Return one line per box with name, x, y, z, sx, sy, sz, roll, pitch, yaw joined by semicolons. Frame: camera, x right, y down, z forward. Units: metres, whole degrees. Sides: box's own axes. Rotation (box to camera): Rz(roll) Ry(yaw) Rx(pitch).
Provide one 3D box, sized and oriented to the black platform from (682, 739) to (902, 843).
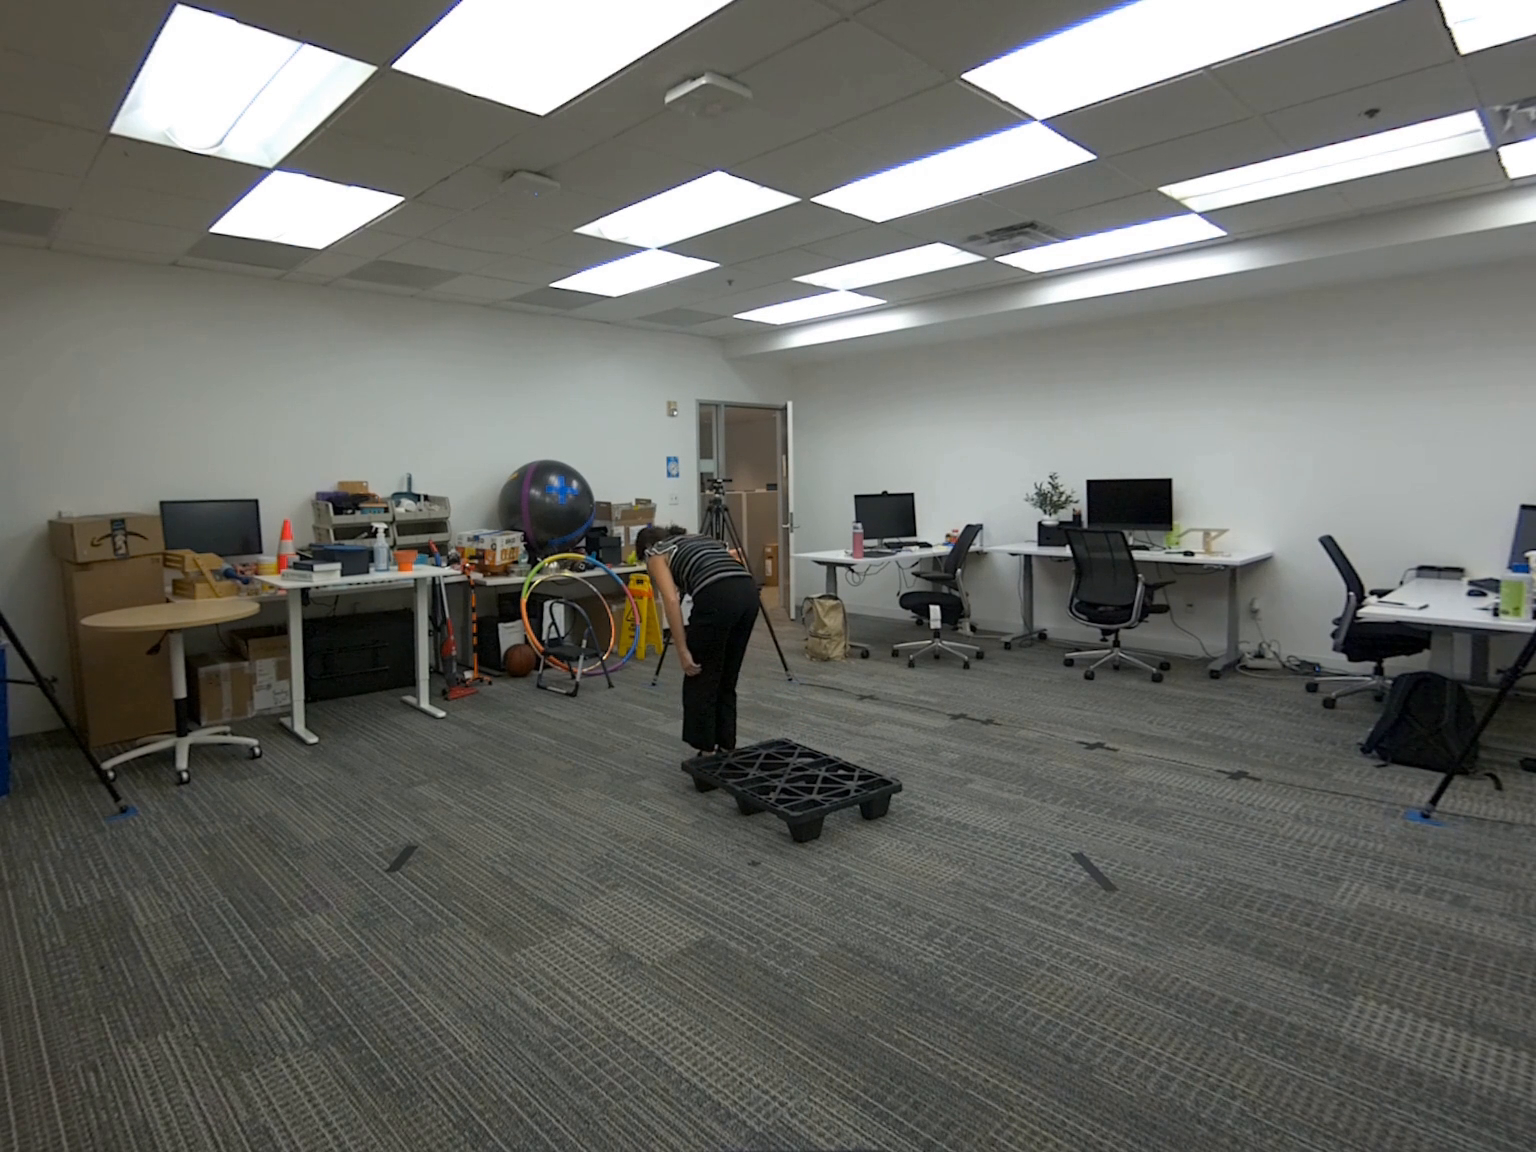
black platform;0.086;0.909;3.697;0.589;0.143;0.830;-4;7;-37
